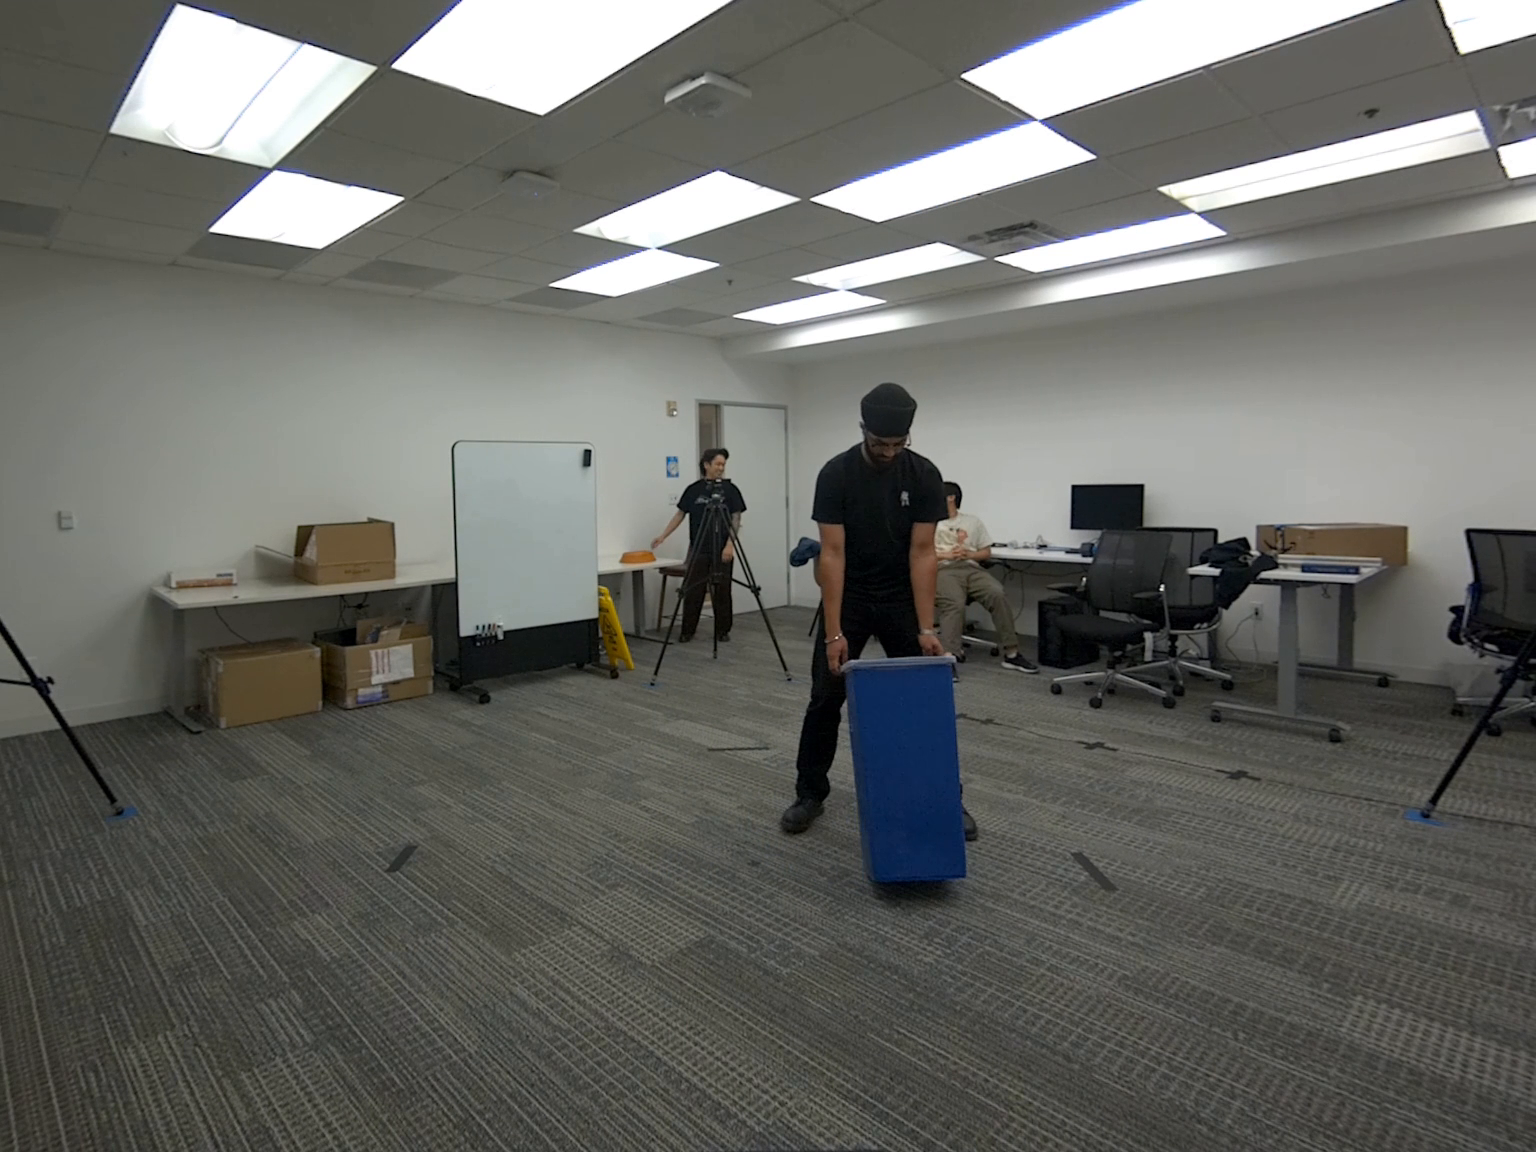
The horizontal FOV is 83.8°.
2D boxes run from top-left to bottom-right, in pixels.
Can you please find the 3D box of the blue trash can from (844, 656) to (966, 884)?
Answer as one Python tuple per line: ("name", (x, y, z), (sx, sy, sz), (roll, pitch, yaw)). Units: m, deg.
("blue trash can", (0.470, 0.667, 3.001), (0.378, 0.722, 0.370), (-2, -12, -1))
